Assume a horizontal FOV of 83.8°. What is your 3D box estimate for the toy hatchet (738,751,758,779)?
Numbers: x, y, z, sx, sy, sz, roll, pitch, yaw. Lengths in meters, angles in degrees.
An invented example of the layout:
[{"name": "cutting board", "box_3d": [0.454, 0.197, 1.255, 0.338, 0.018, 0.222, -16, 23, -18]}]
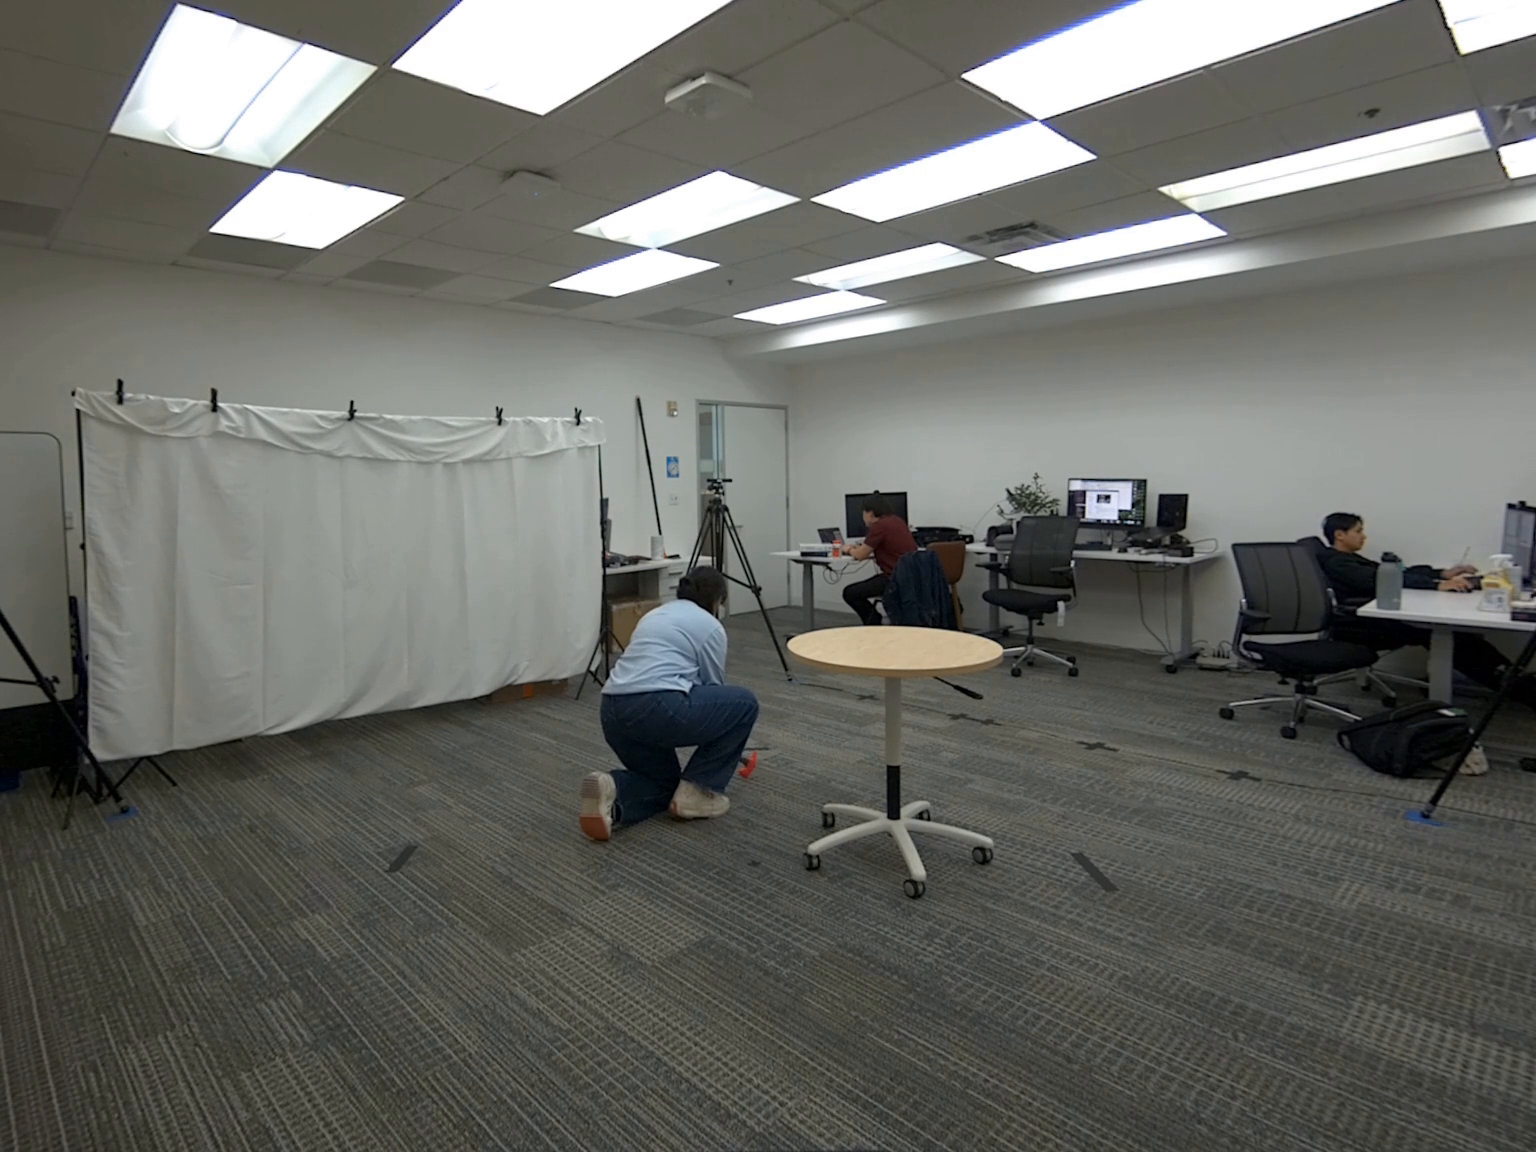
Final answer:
[{"name": "toy hatchet", "box_3d": [-0.158, 0.872, 3.965, 0.262, 0.131, 0.030, 7, 4, -34]}]
